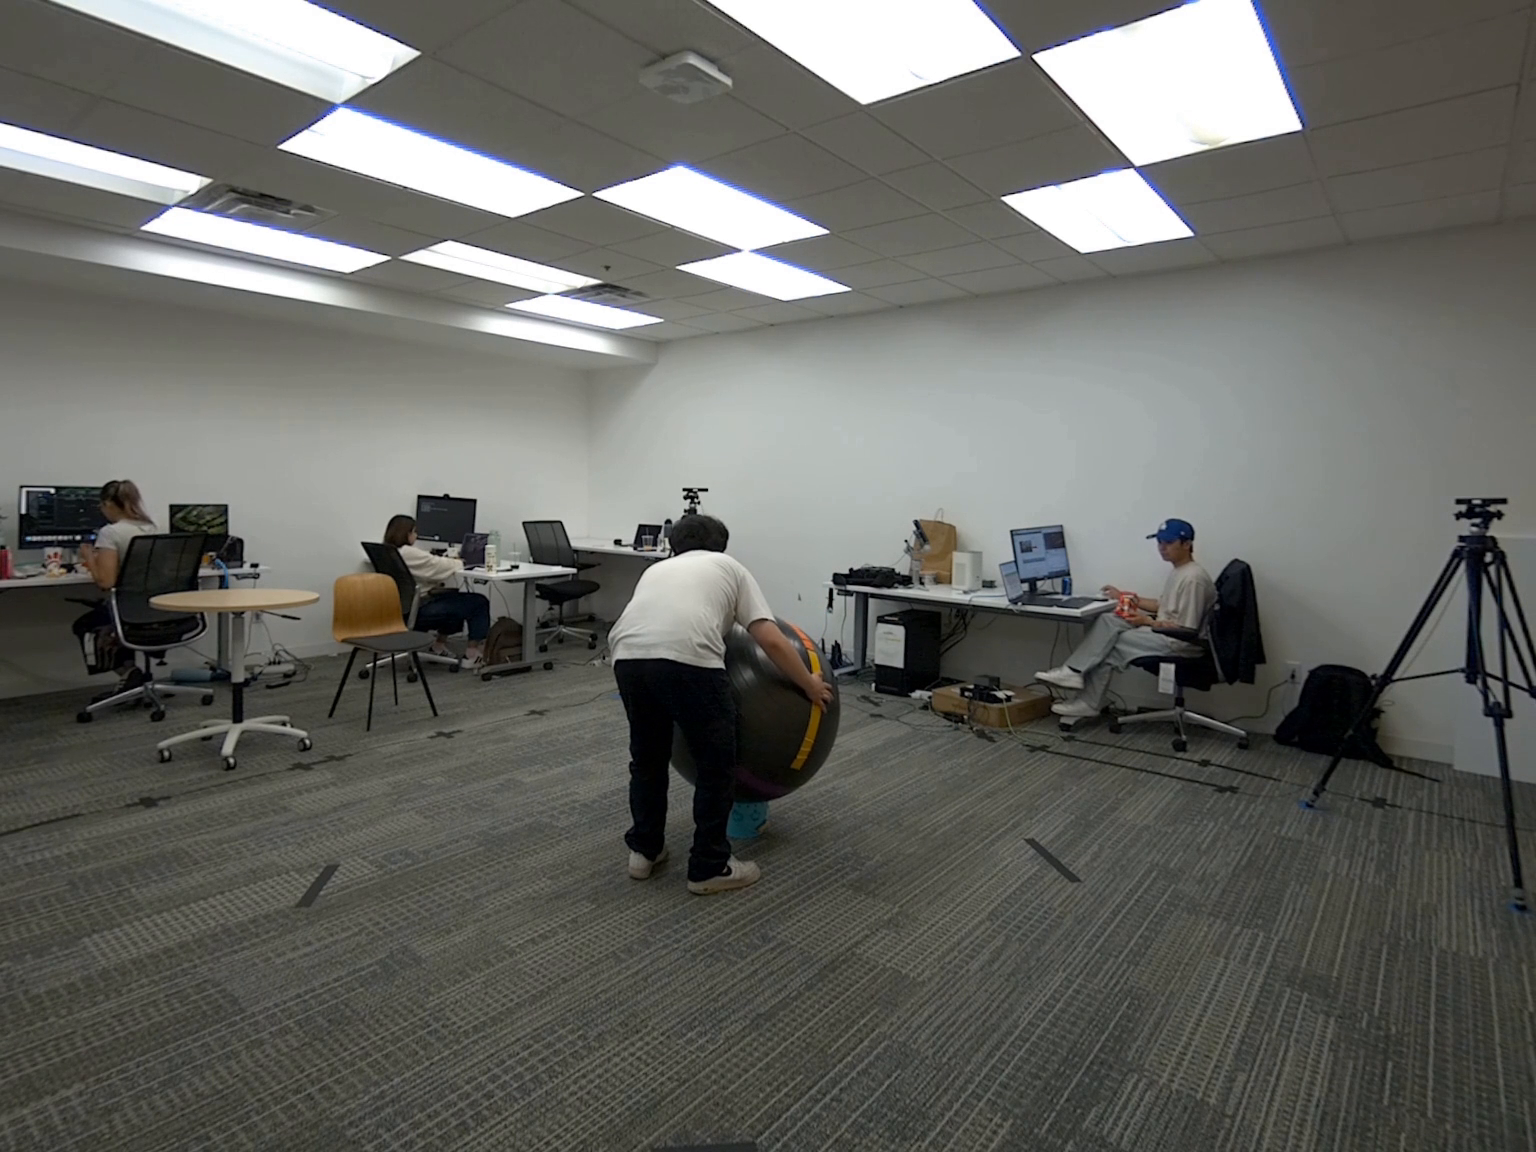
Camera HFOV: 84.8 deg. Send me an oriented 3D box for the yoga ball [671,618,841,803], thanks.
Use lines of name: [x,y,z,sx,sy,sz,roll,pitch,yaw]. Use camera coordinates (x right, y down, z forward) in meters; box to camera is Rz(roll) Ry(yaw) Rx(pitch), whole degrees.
yoga ball: [-0.079,0.530,3.461,0.757,0.755,0.762,1,4,-2]
